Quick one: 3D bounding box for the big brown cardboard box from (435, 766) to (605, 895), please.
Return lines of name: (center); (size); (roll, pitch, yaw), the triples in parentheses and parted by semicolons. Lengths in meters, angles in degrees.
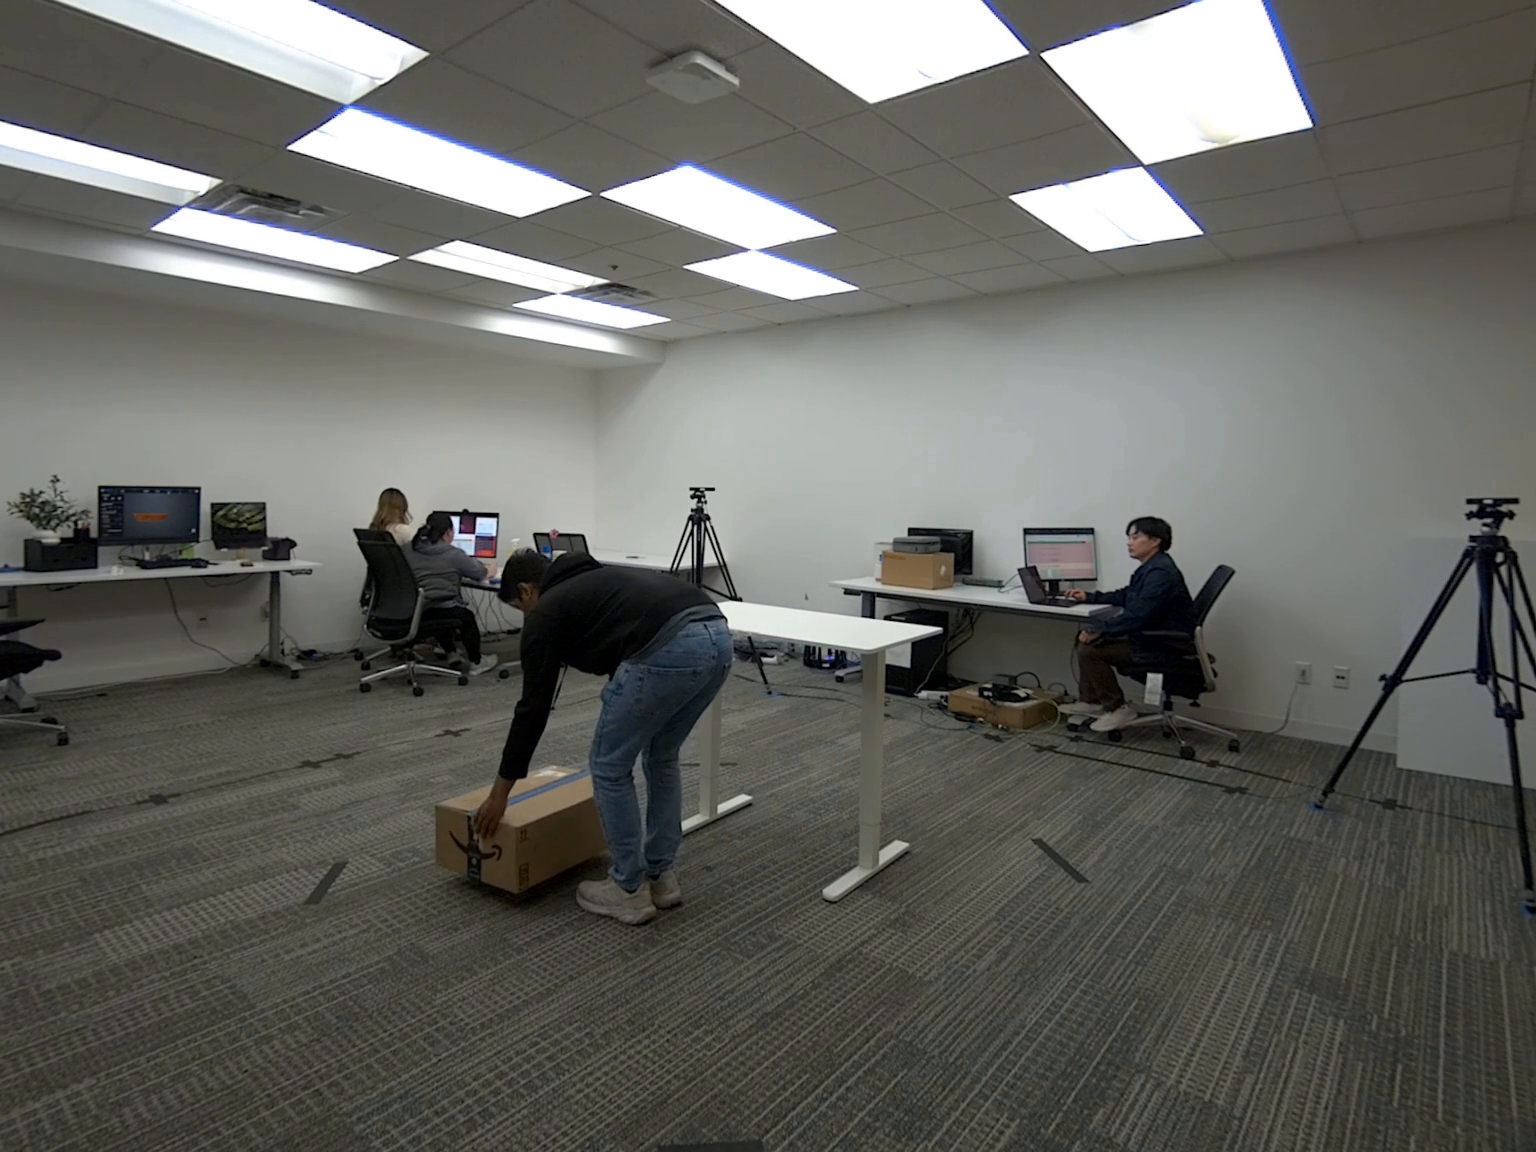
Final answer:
big brown cardboard box: (-0.845, 0.875, 3.067); (0.430, 0.232, 0.573); (2, 5, 32)
